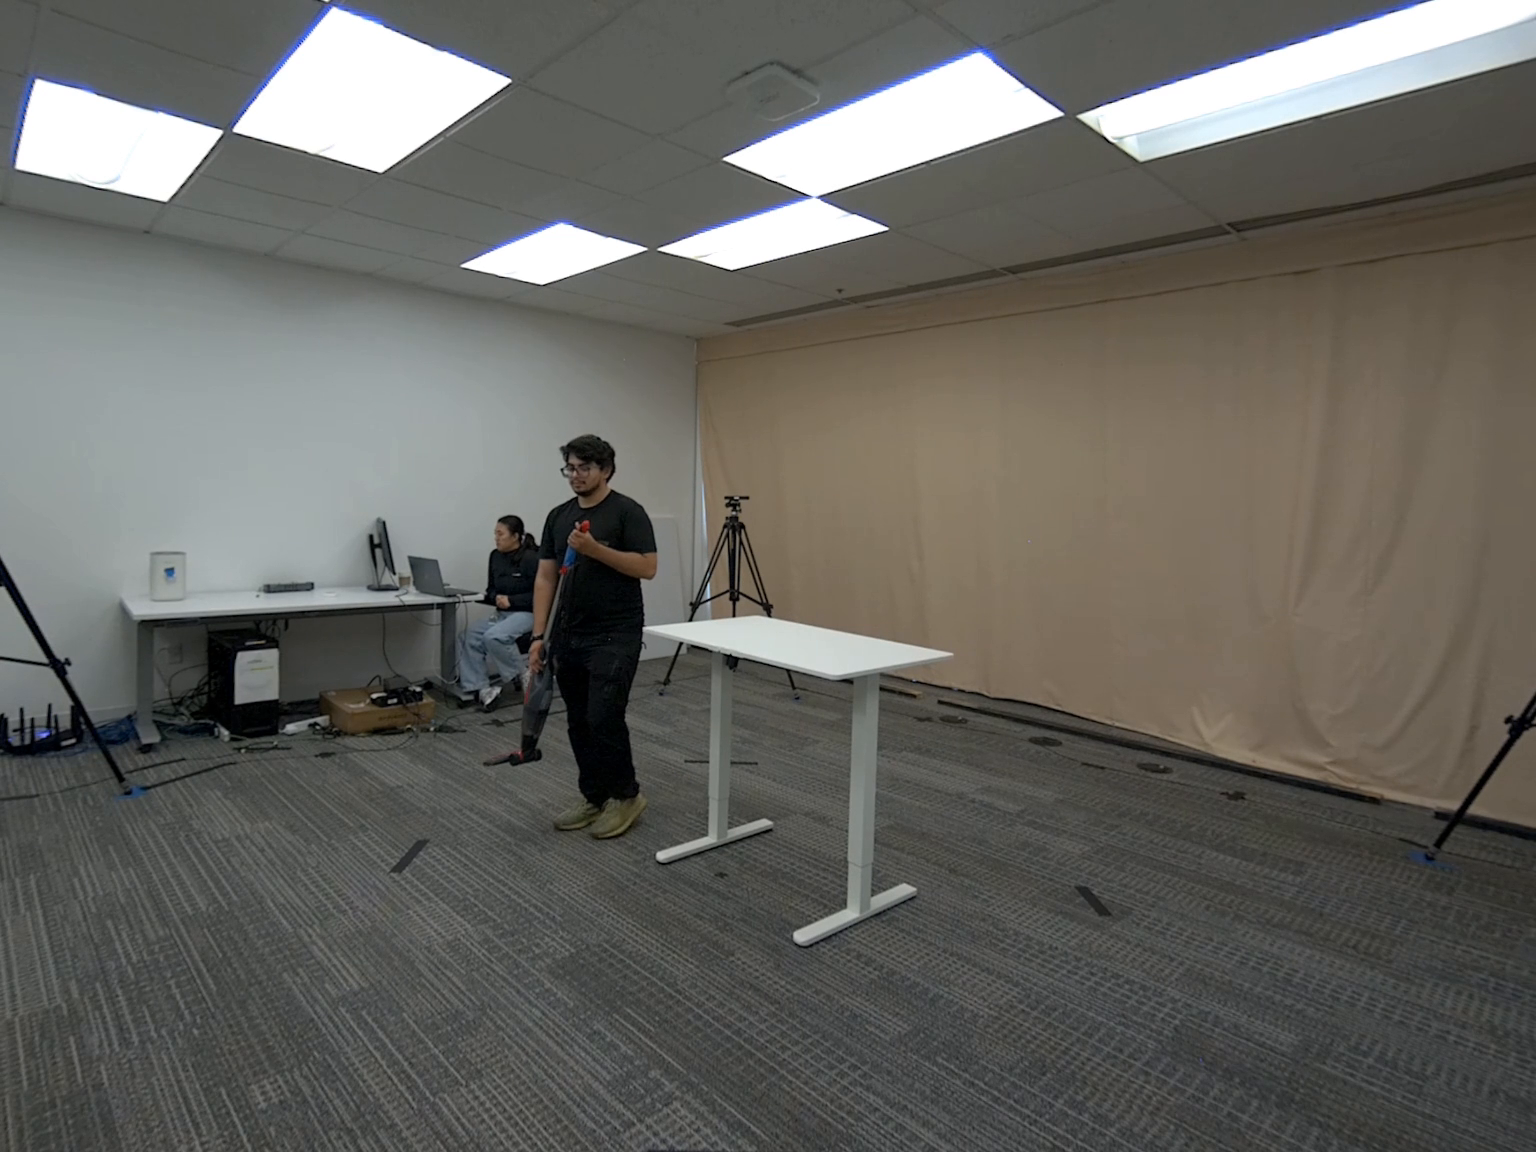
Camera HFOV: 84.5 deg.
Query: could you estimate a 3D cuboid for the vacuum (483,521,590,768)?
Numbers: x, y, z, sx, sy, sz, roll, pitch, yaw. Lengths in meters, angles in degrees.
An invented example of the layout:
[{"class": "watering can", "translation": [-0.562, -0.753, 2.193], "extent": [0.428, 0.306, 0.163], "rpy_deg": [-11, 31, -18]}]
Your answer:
[{"class": "vacuum", "translation": [-0.874, 0.285, 3.364], "extent": [0.148, 1.043, 0.247], "rpy_deg": [27, 15, 33]}]
